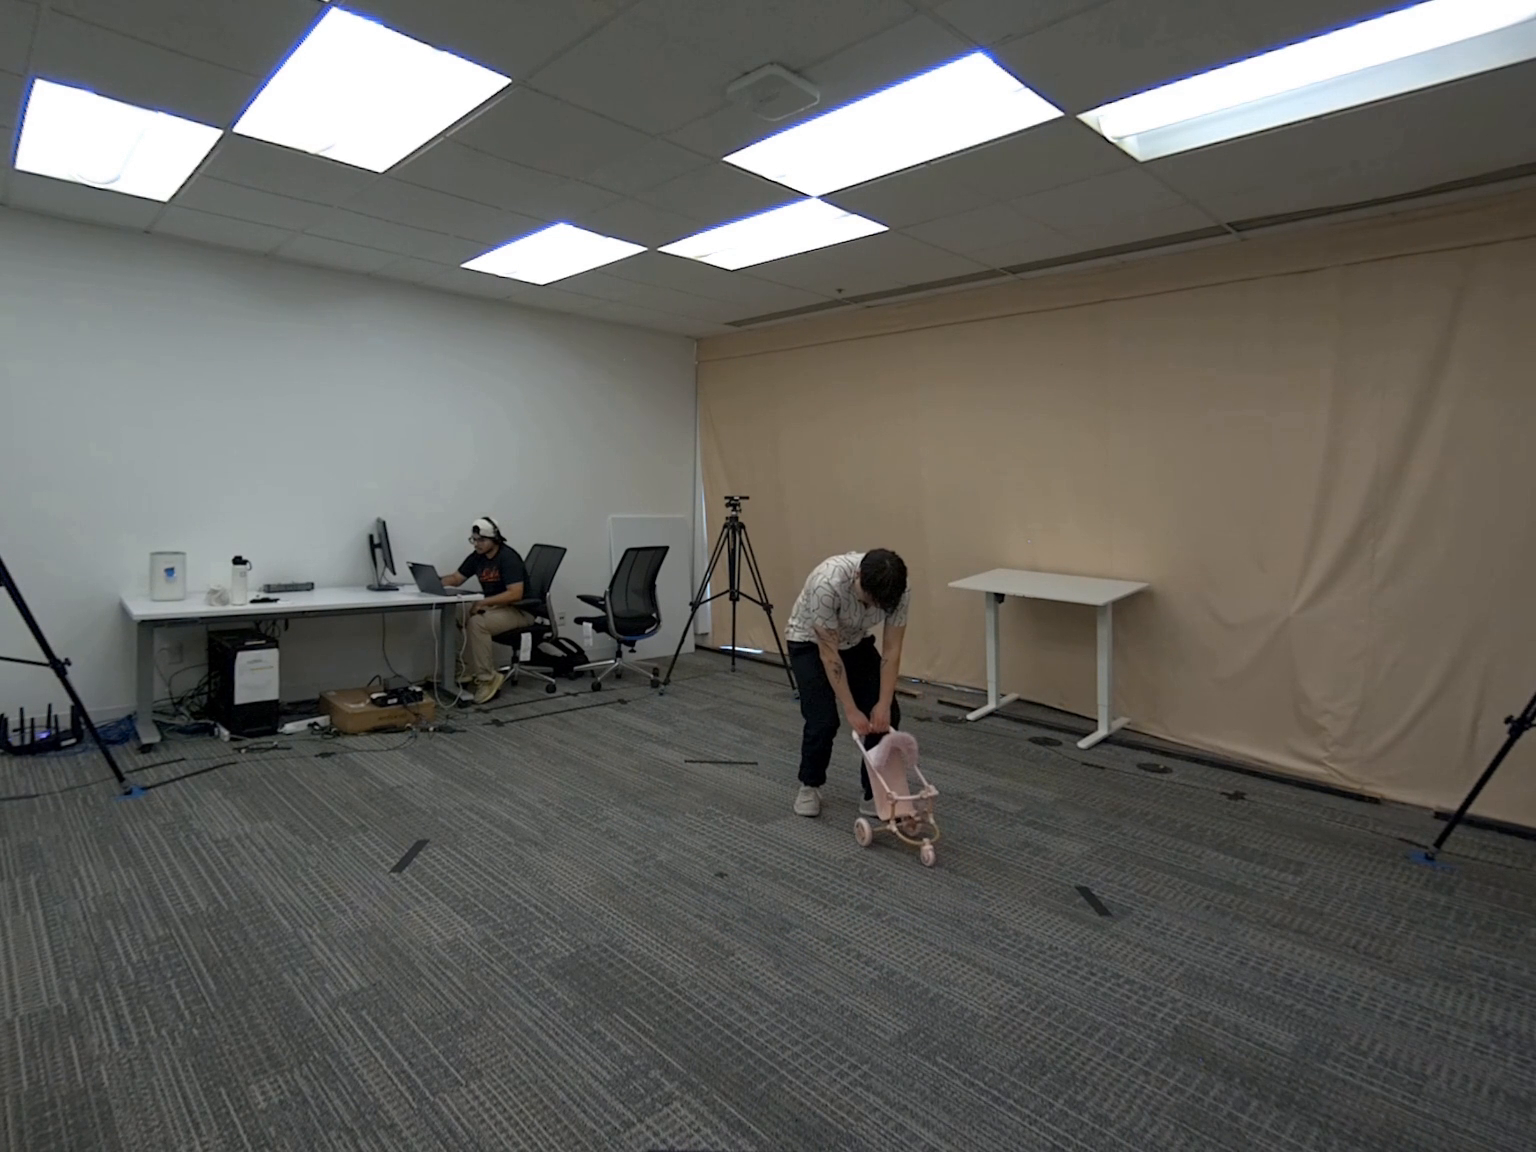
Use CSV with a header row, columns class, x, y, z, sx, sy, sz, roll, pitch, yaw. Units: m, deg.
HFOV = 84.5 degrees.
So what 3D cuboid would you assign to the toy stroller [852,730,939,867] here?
class,x,y,z,sx,sy,sz,roll,pitch,yaw
toy stroller,0.516,0.871,3.387,0.277,0.540,0.344,0,-12,-23
